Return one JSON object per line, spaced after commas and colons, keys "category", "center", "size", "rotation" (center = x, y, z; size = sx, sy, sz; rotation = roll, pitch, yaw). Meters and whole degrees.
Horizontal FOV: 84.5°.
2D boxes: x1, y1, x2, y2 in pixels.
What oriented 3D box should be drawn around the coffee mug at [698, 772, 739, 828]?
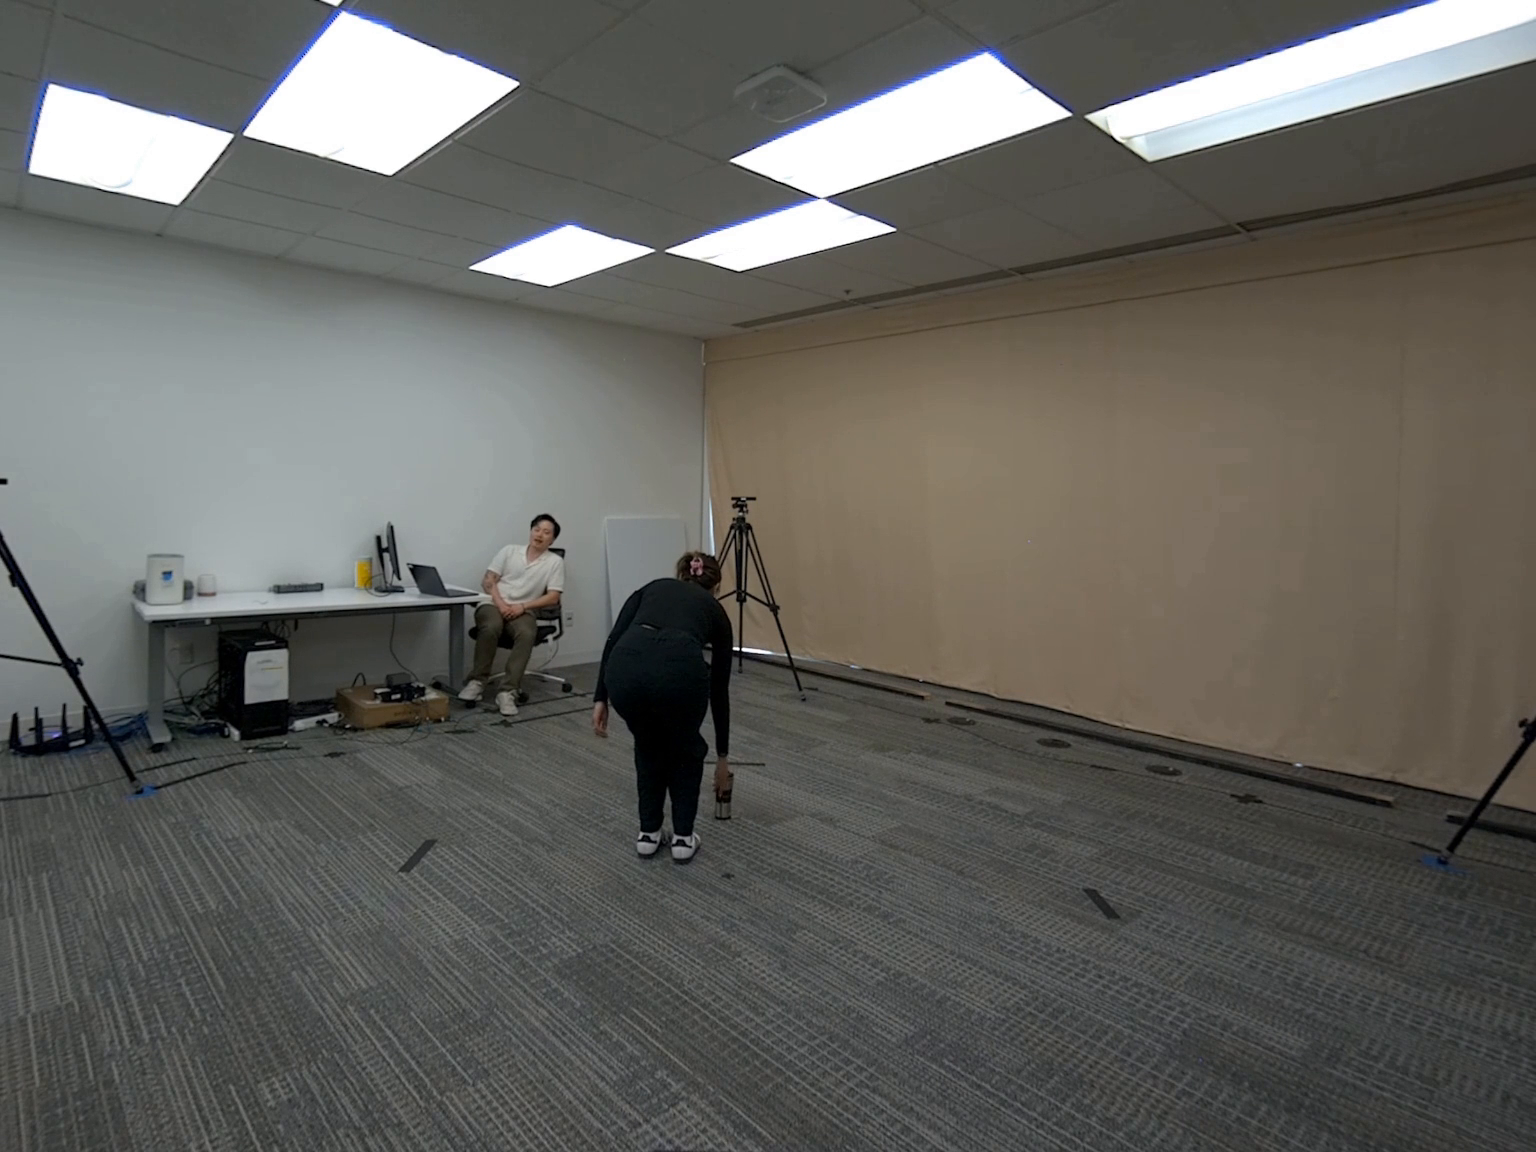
{"category": "coffee mug", "center": [-0.217, 0.963, 3.665], "size": [0.119, 0.202, 0.090], "rotation": [4, 5, -42]}
